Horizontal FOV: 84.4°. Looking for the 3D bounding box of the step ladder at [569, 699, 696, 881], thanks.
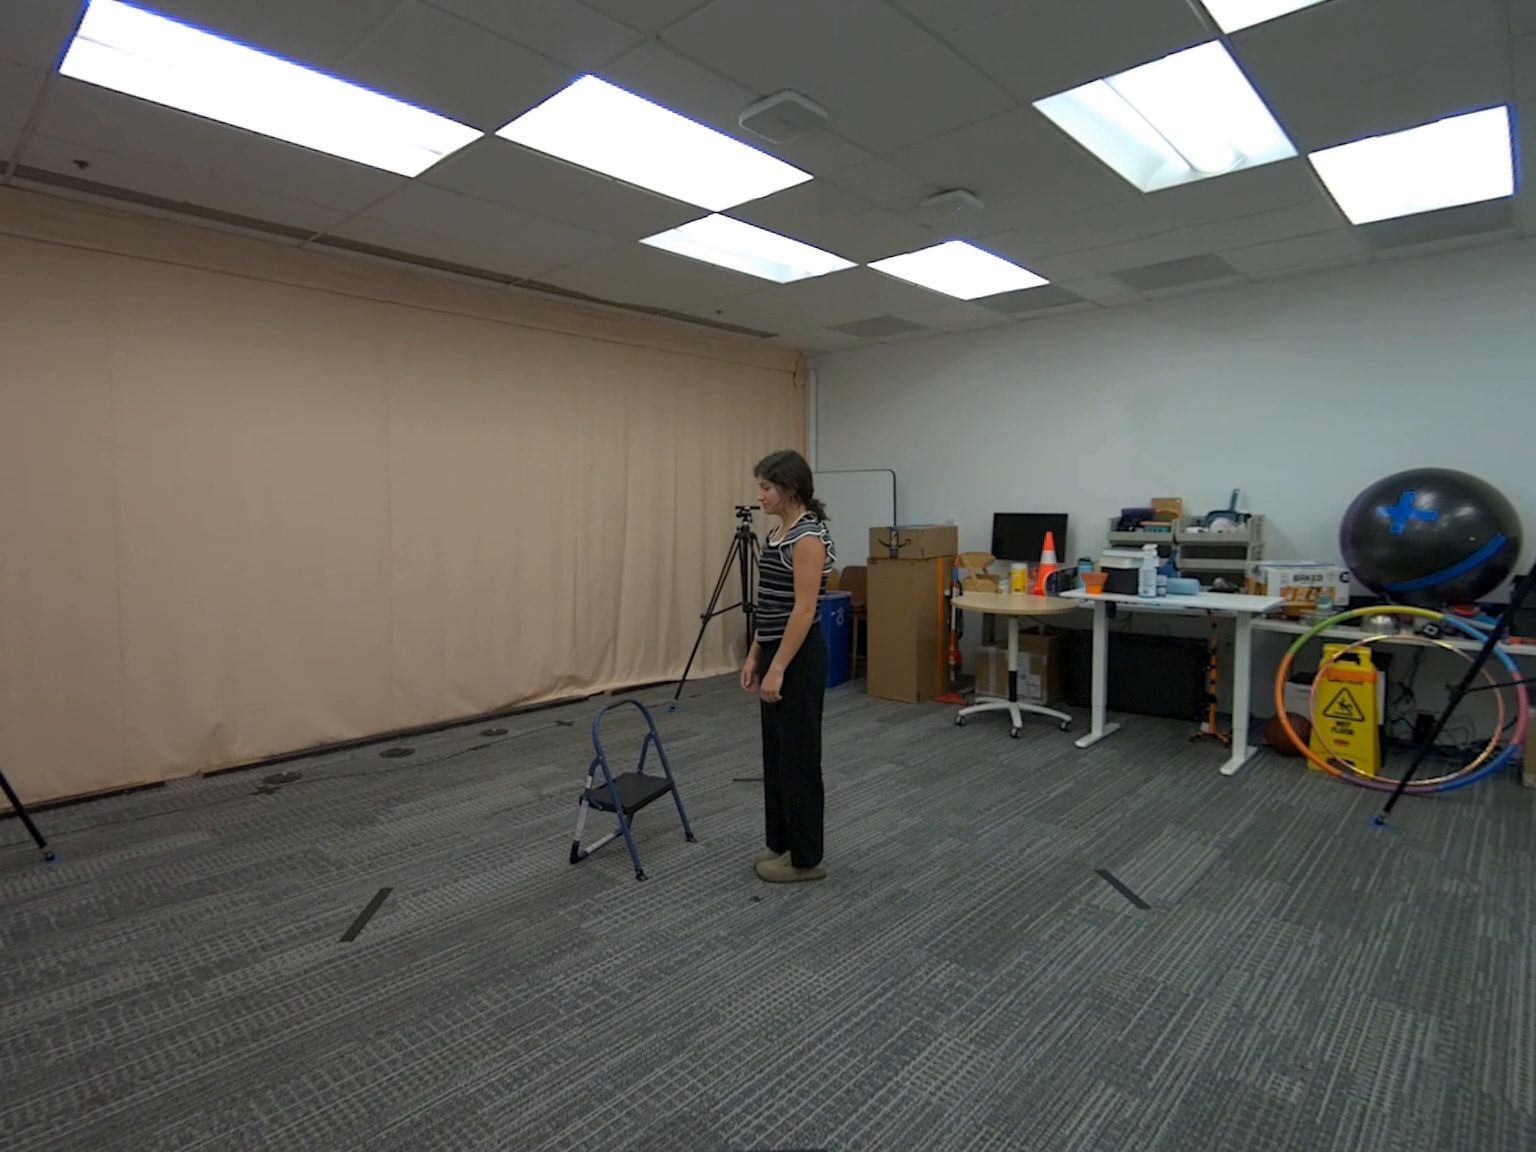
[{"bbox_3d":[-0.544,0.814,3.388,0.358,0.605,0.421,1,3,25],"label":"step ladder"}]
